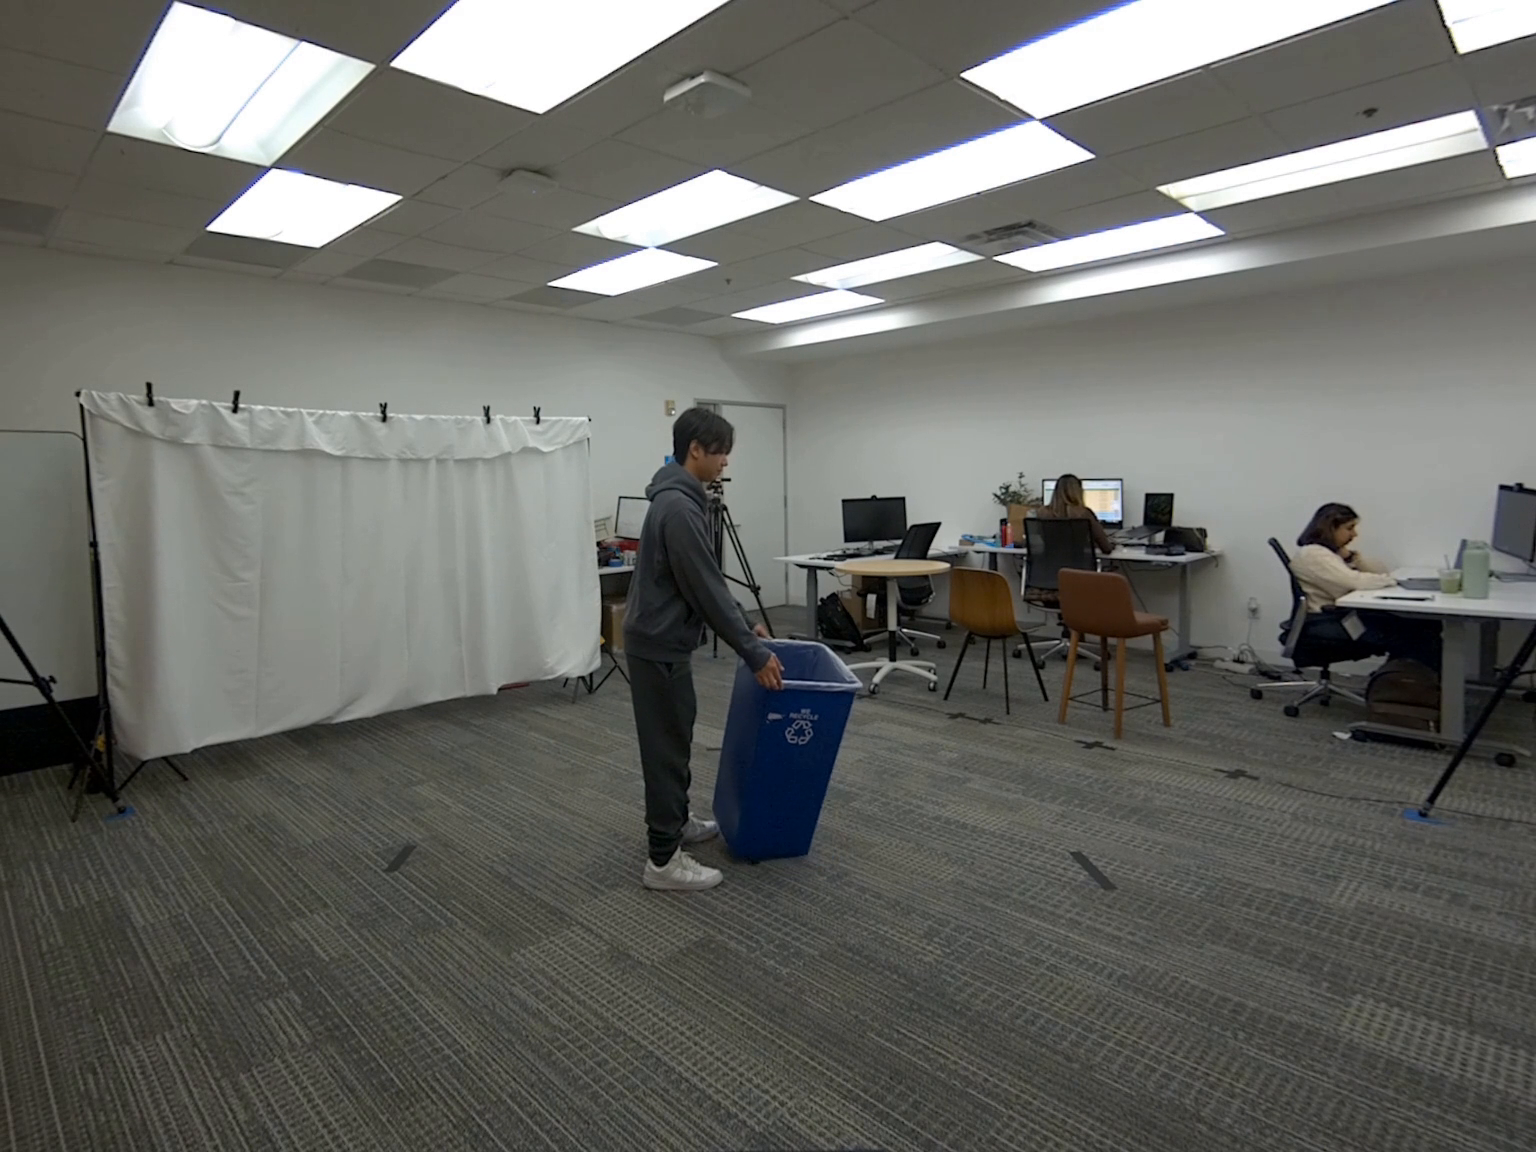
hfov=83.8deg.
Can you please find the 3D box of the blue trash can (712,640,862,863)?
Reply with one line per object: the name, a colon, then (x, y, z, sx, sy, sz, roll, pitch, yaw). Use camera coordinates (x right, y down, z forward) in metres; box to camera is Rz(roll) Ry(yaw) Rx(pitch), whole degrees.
blue trash can: (0.037, 0.638, 3.168, 0.366, 0.706, 0.390, 5, 16, -21)
